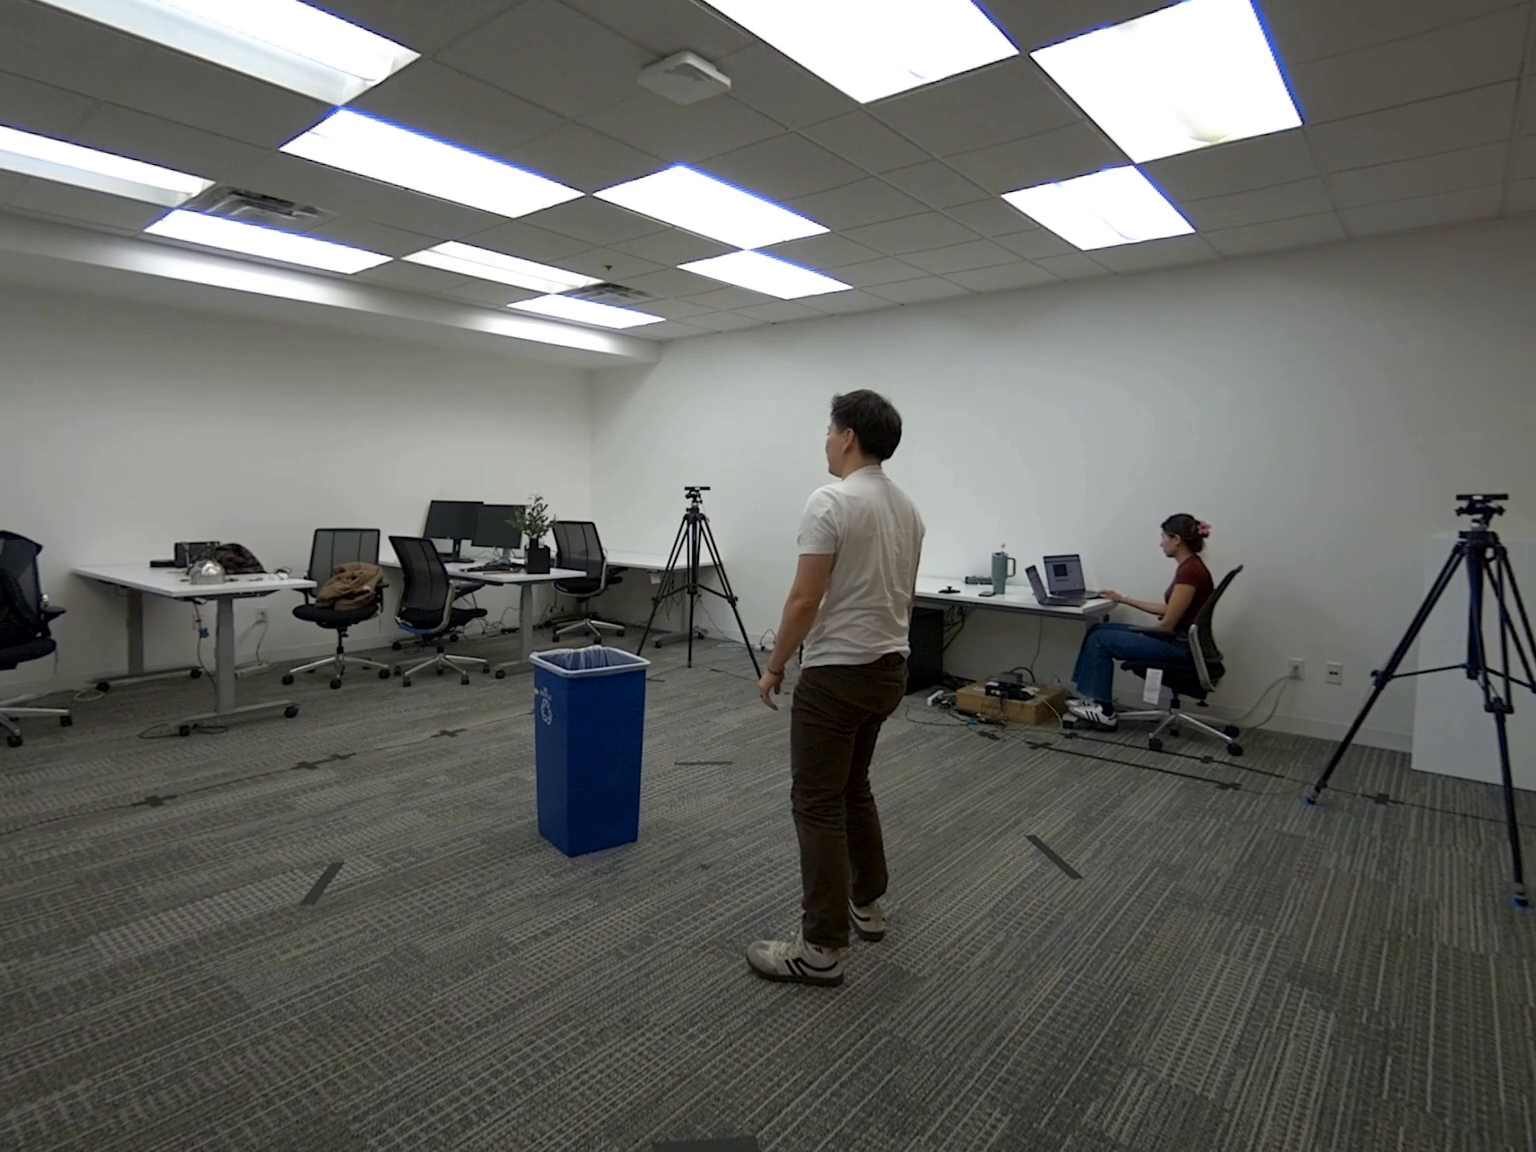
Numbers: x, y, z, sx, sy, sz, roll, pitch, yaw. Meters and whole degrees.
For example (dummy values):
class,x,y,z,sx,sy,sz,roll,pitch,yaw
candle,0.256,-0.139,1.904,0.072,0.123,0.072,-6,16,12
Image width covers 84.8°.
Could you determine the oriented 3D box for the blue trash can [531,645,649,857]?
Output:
class,x,y,z,sx,sy,sz,roll,pitch,yaw
blue trash can,-0.725,0.675,3.358,0.363,0.711,0.391,-1,4,-38
